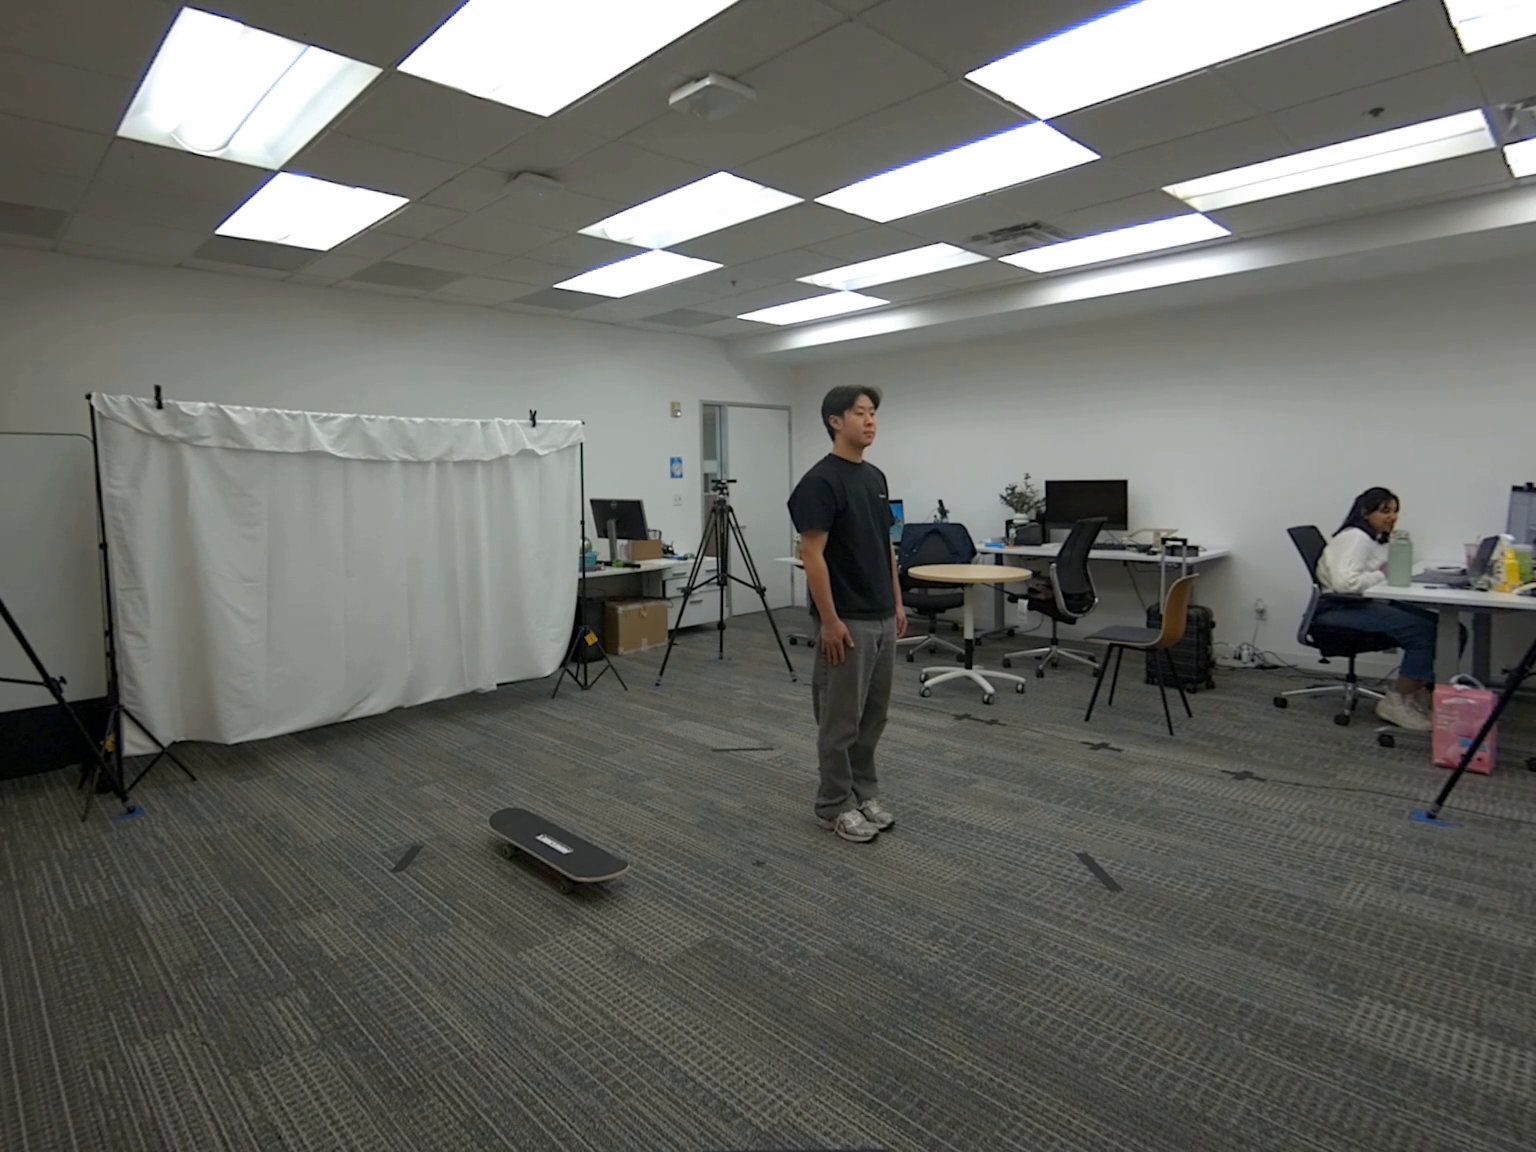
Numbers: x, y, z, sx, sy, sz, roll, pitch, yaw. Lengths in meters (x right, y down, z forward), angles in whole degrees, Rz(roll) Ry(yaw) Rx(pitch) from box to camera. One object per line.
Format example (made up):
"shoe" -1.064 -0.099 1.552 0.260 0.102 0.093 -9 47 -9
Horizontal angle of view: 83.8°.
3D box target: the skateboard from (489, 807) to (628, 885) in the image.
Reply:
"skateboard" -0.778 1.009 3.109 0.188 0.110 0.810 -7 9 -44
